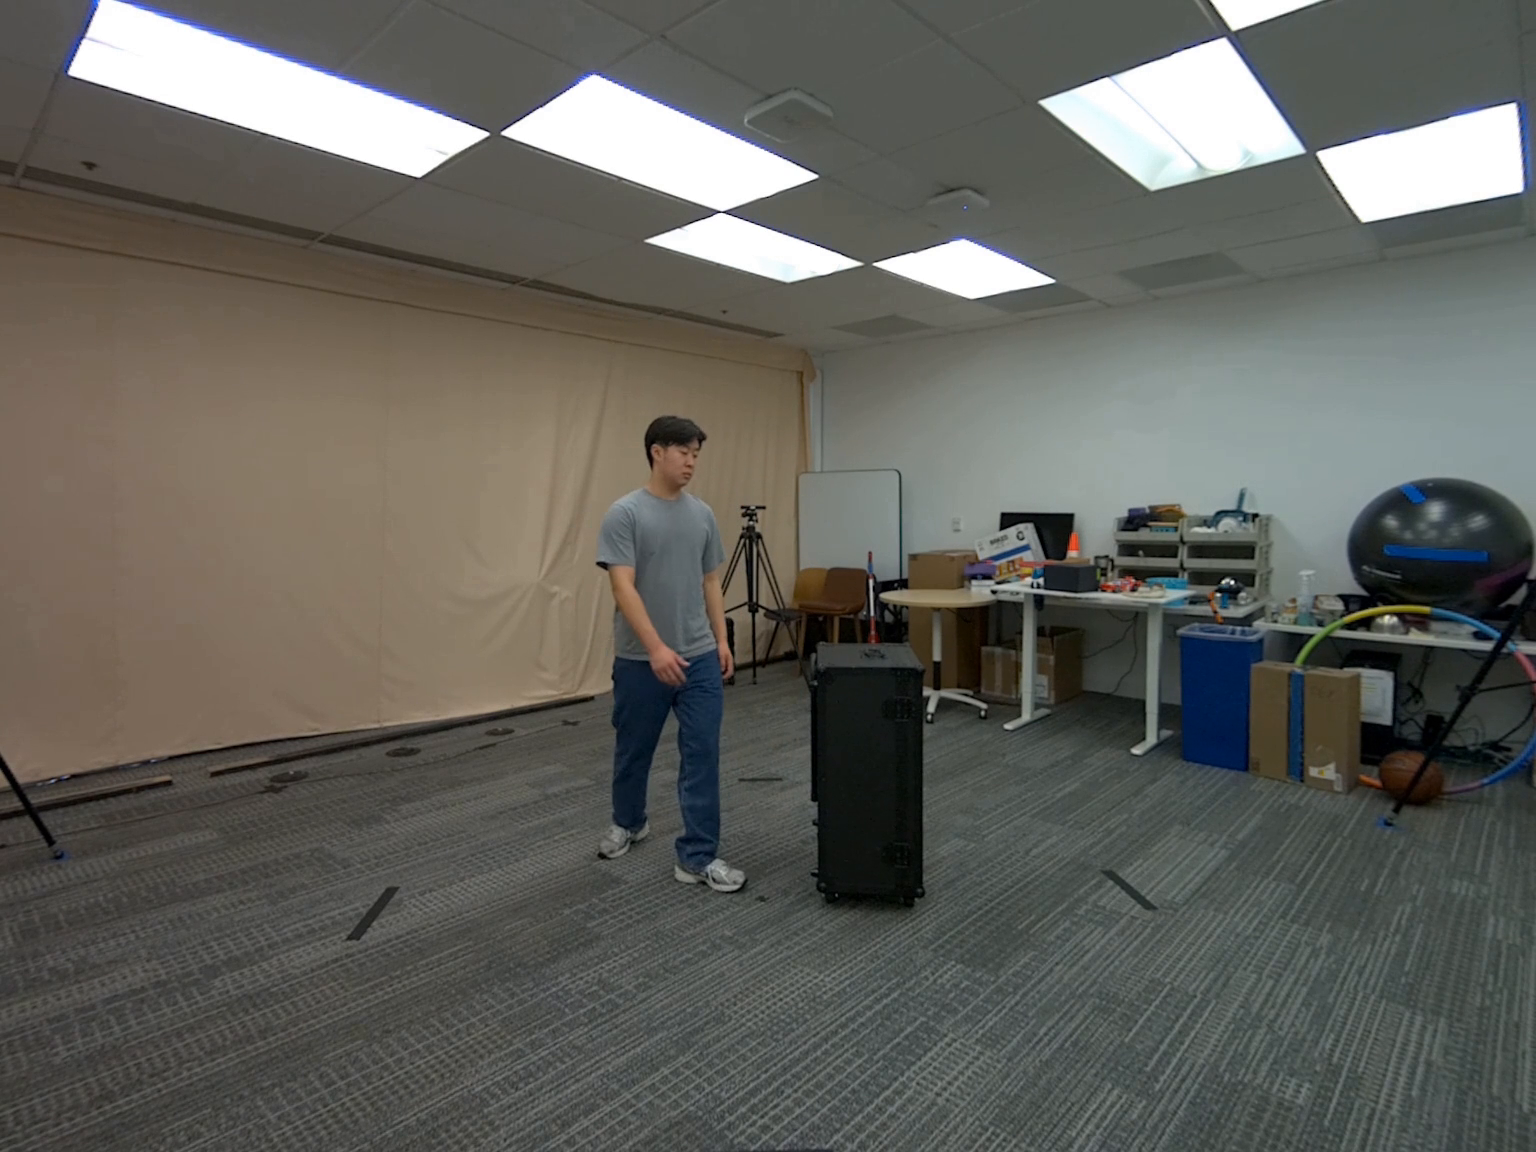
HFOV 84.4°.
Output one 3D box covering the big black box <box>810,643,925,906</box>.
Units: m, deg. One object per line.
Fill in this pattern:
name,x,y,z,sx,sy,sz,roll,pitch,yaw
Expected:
big black box,0.357,0.711,3.068,0.399,0.860,0.518,-1,3,6
